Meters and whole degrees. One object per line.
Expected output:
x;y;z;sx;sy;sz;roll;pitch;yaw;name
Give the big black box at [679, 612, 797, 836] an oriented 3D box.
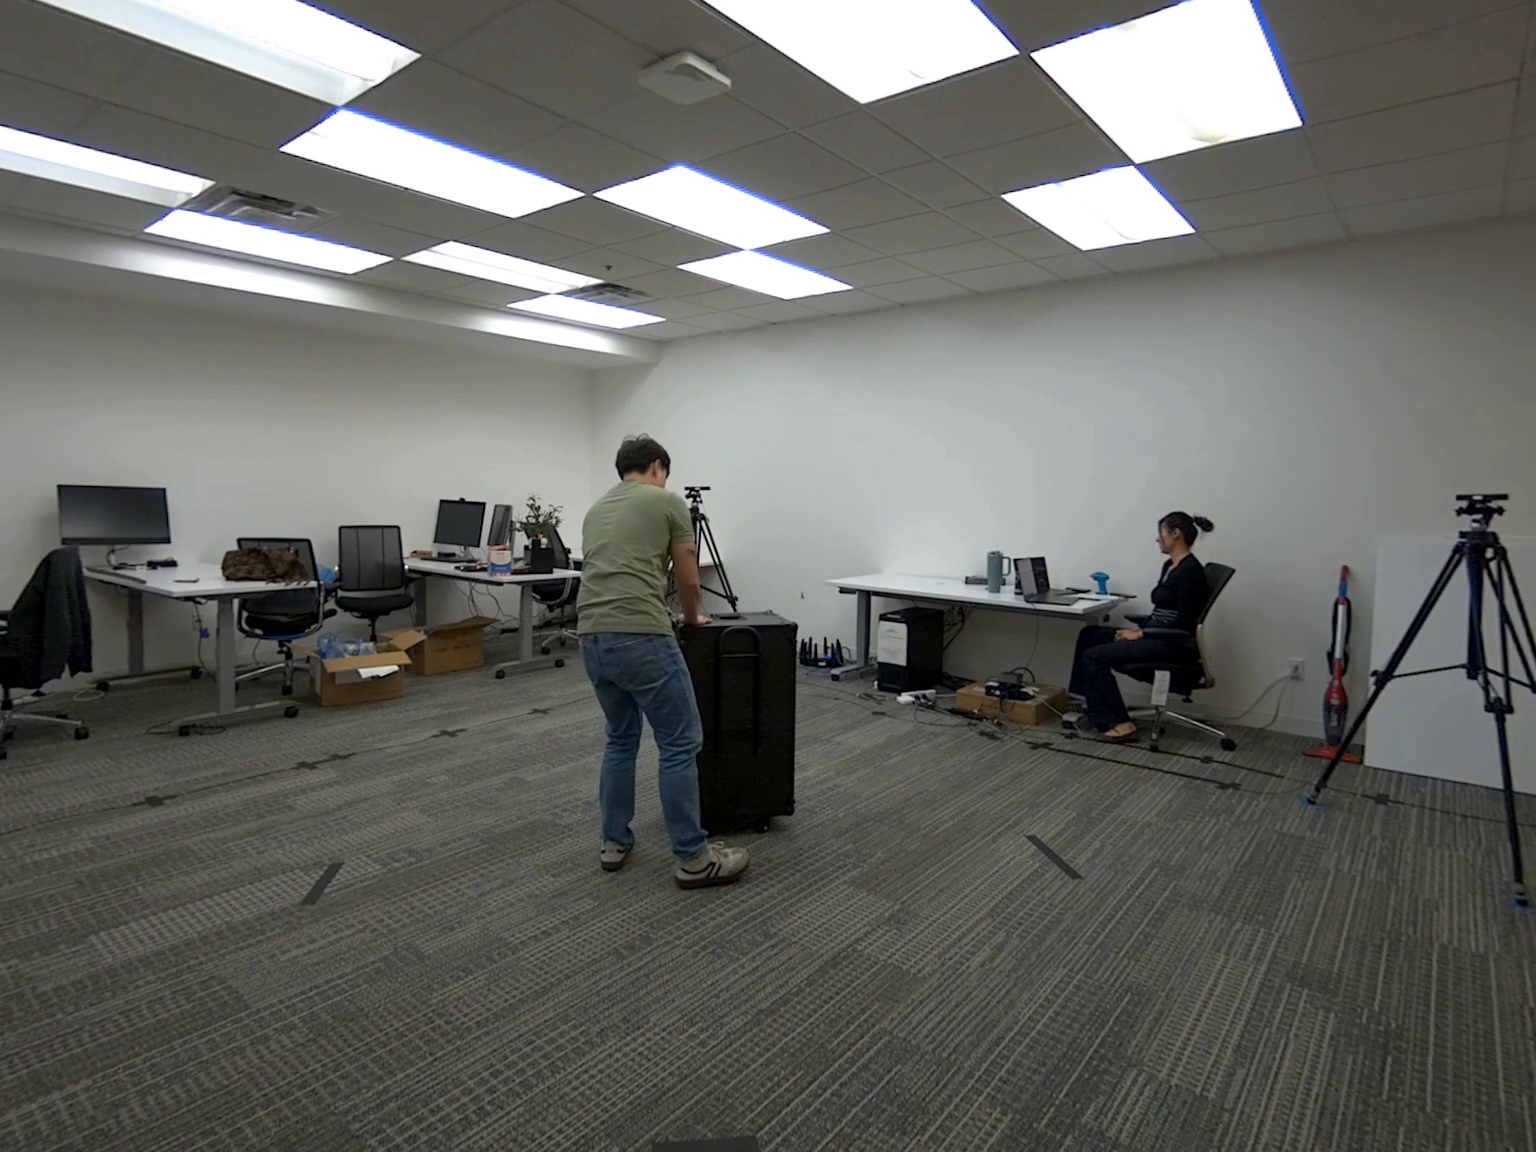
-0.175;0.540;3.527;0.513;0.858;0.404;-1;4;-15;big black box
